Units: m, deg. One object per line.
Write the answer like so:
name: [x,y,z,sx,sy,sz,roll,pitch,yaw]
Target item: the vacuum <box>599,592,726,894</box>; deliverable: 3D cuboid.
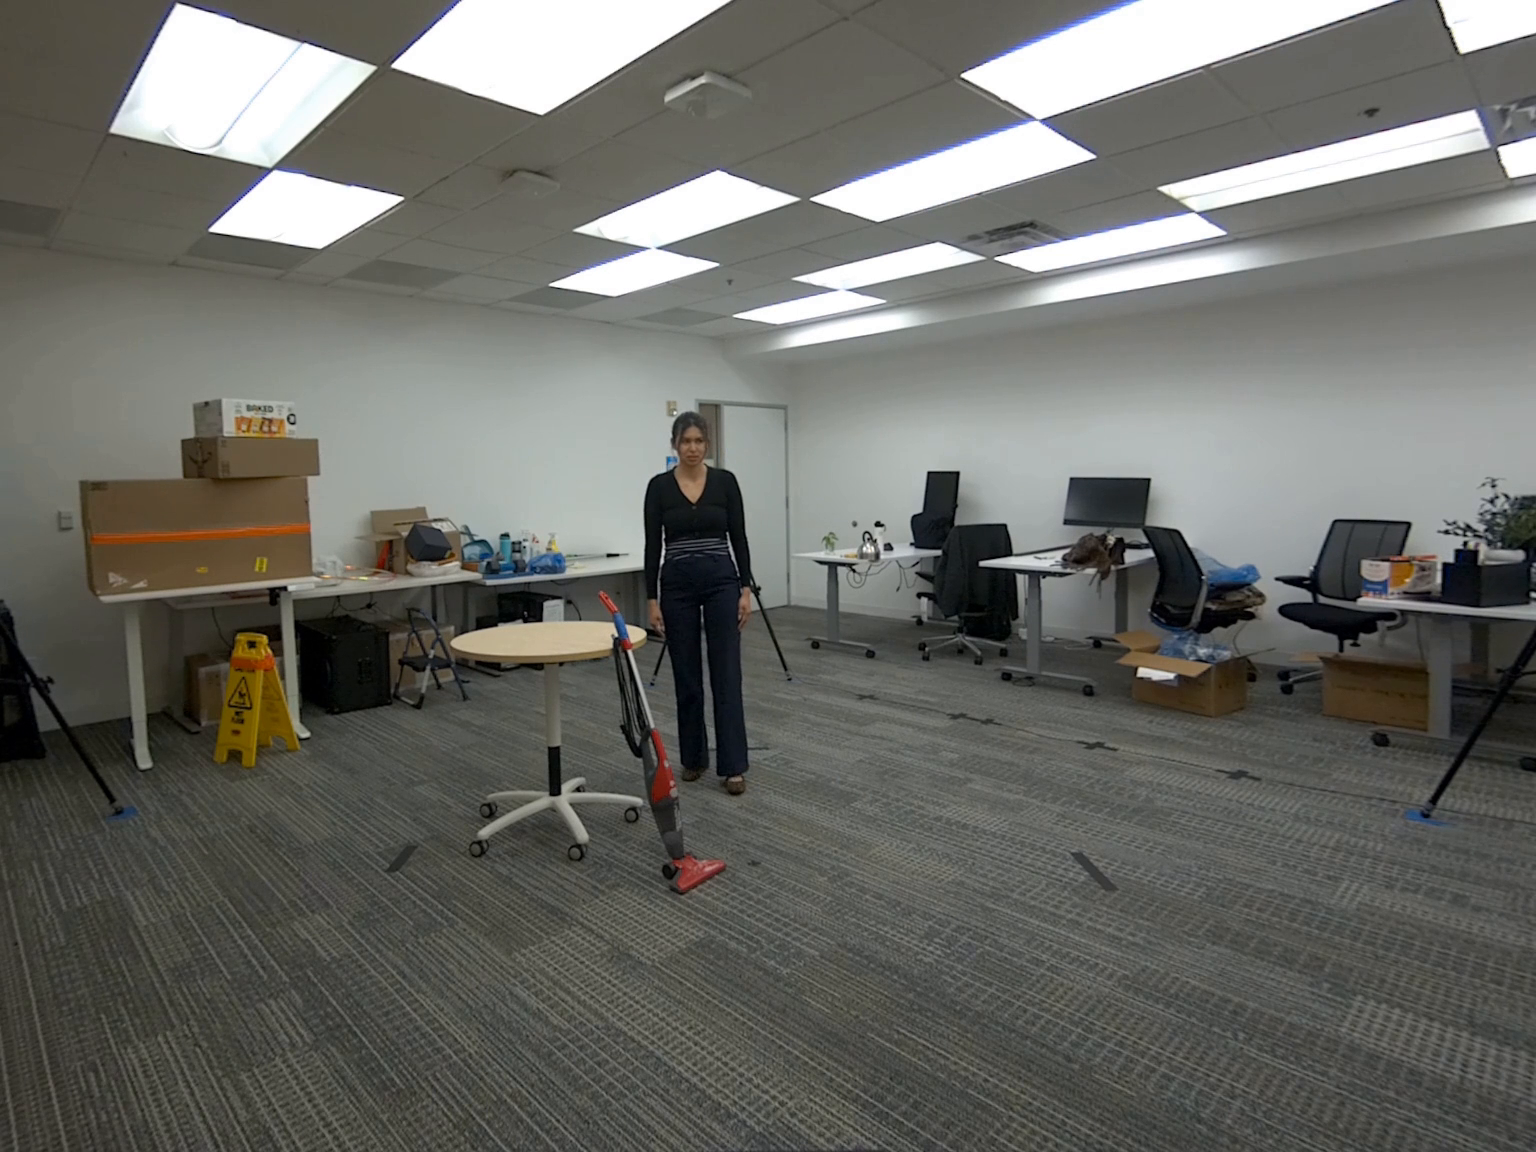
vacuum: [-0.445,0.569,3.110,0.146,1.064,0.246,-28,-14,38]
